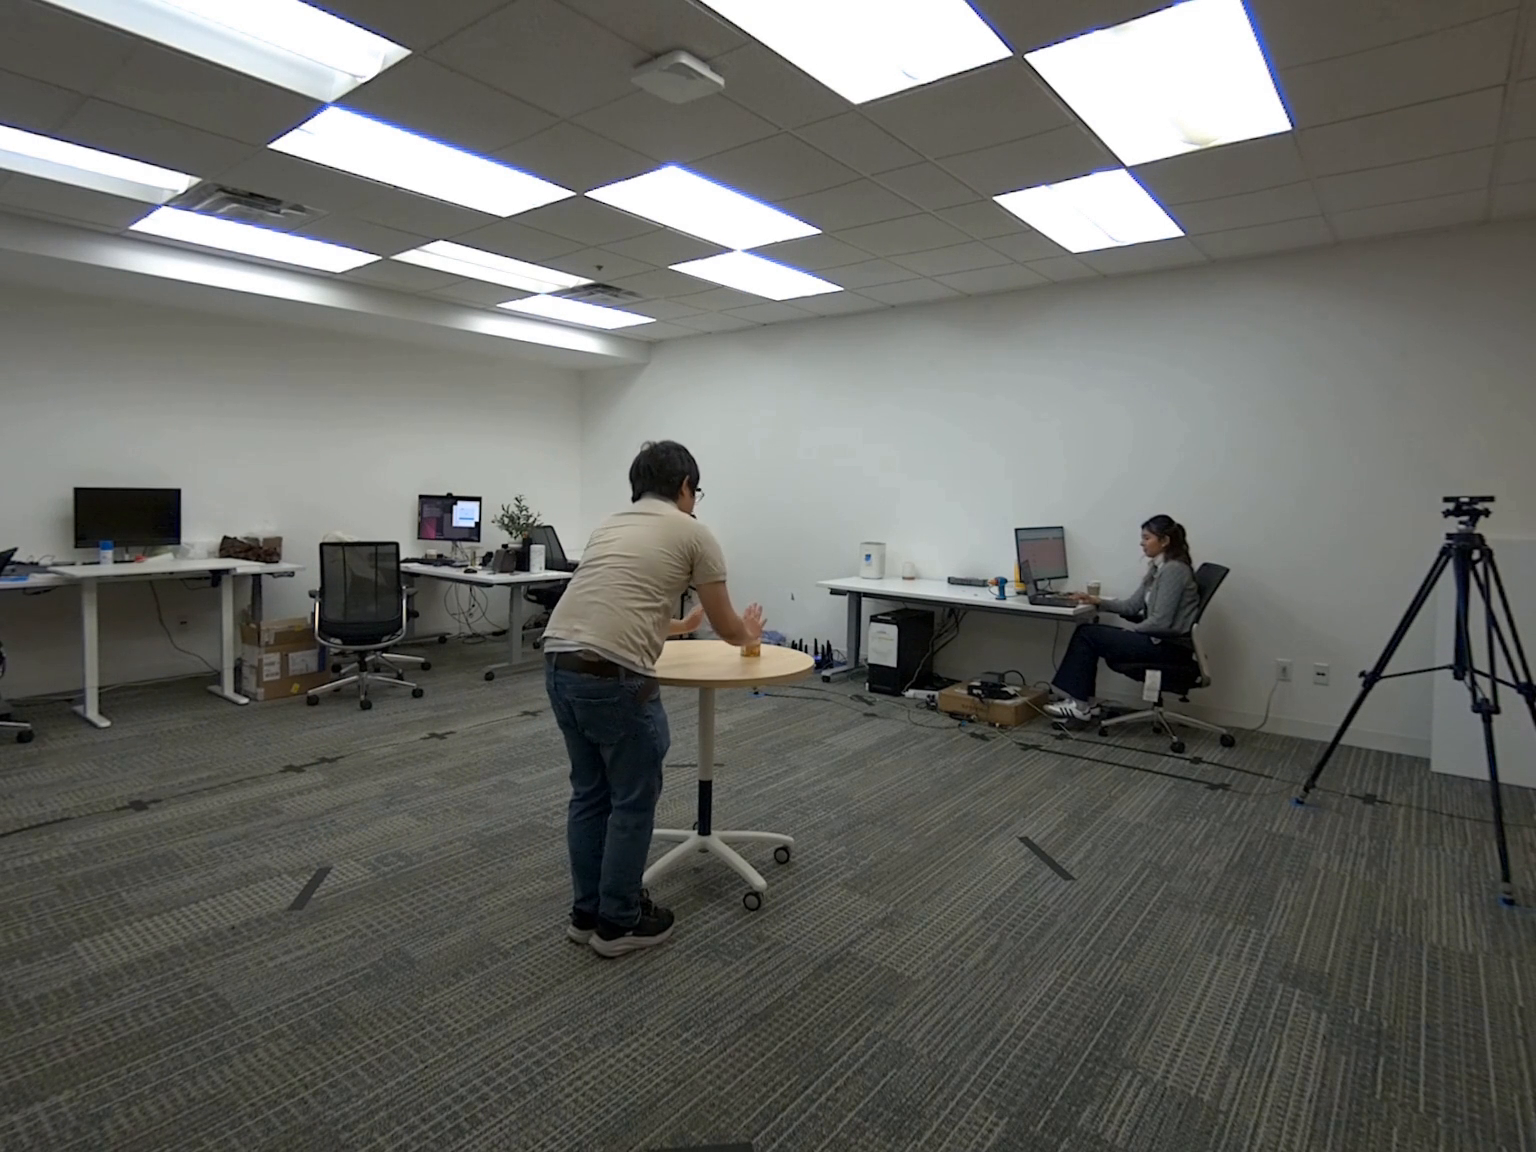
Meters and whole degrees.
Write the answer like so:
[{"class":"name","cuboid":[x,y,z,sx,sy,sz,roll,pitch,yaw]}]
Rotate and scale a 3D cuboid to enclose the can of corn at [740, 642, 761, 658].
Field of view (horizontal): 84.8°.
[{"class":"can of corn","cuboid":[-0.079,0.231,3.112,0.074,0.111,0.074,0,2,-2]}]
